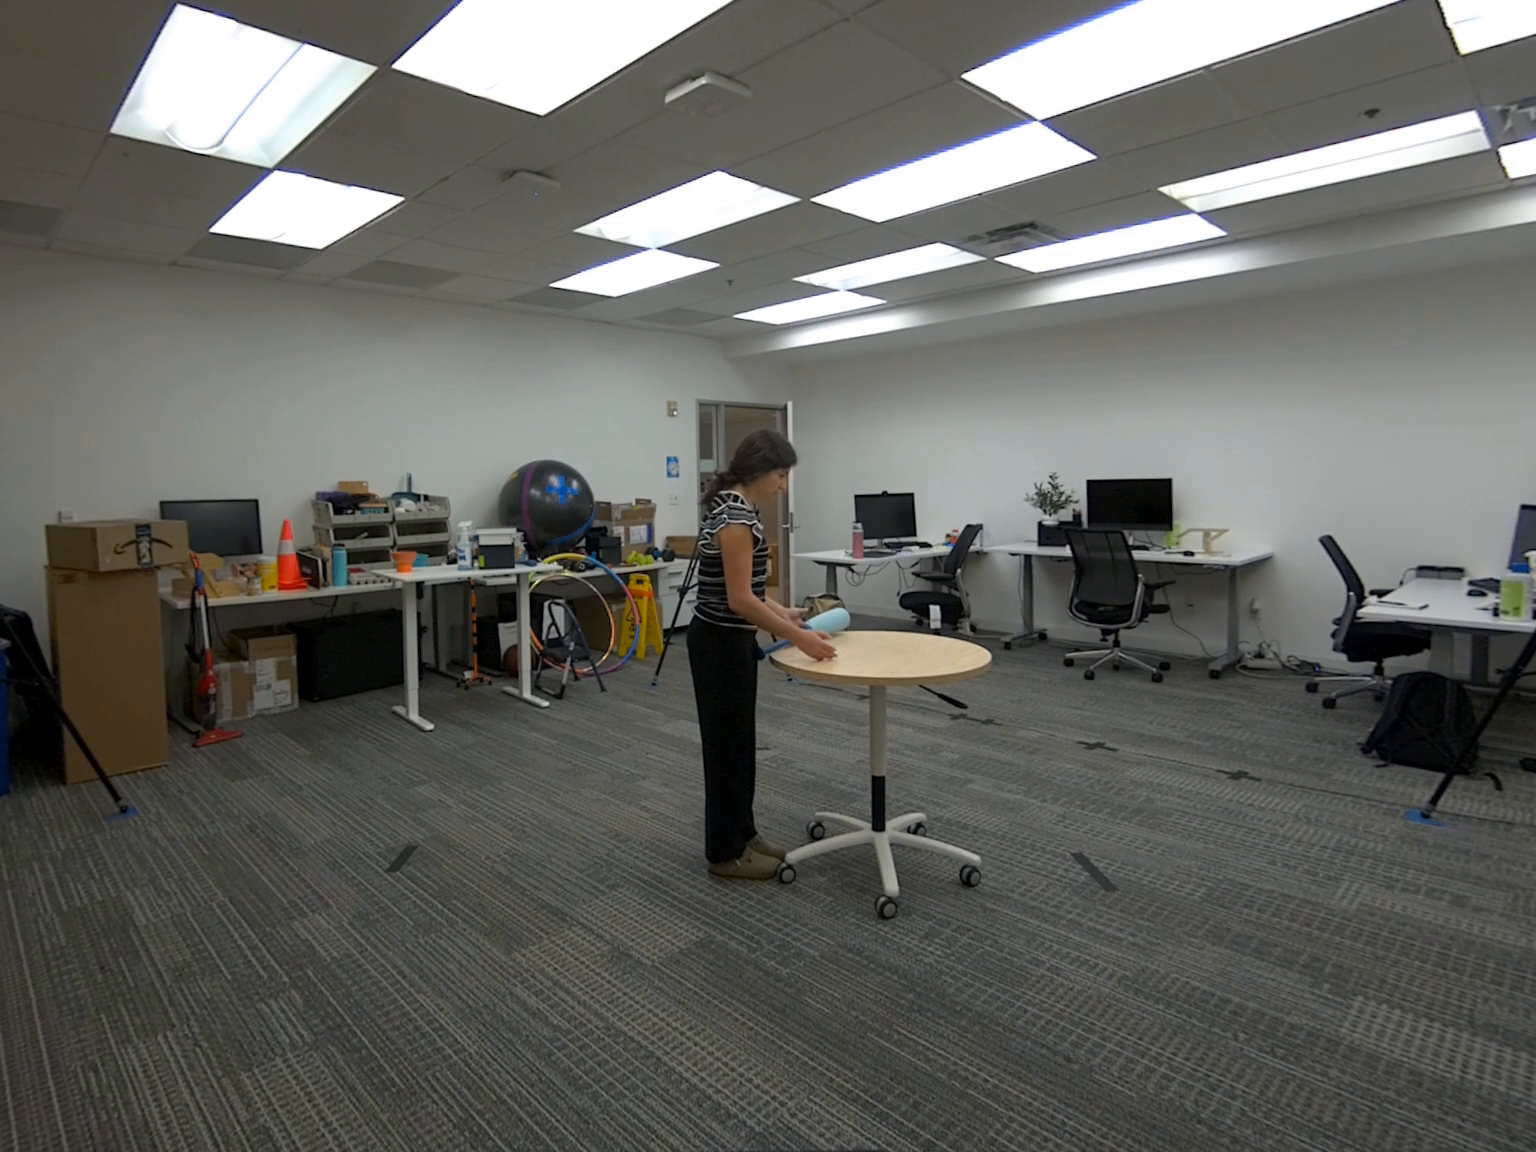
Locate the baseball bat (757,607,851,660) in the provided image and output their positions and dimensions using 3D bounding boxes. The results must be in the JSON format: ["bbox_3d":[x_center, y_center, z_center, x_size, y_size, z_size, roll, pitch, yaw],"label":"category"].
[{"bbox_3d":[0.124,0.218,3.158,0.092,0.088,0.532,3,14,40],"label":"baseball bat"}]
